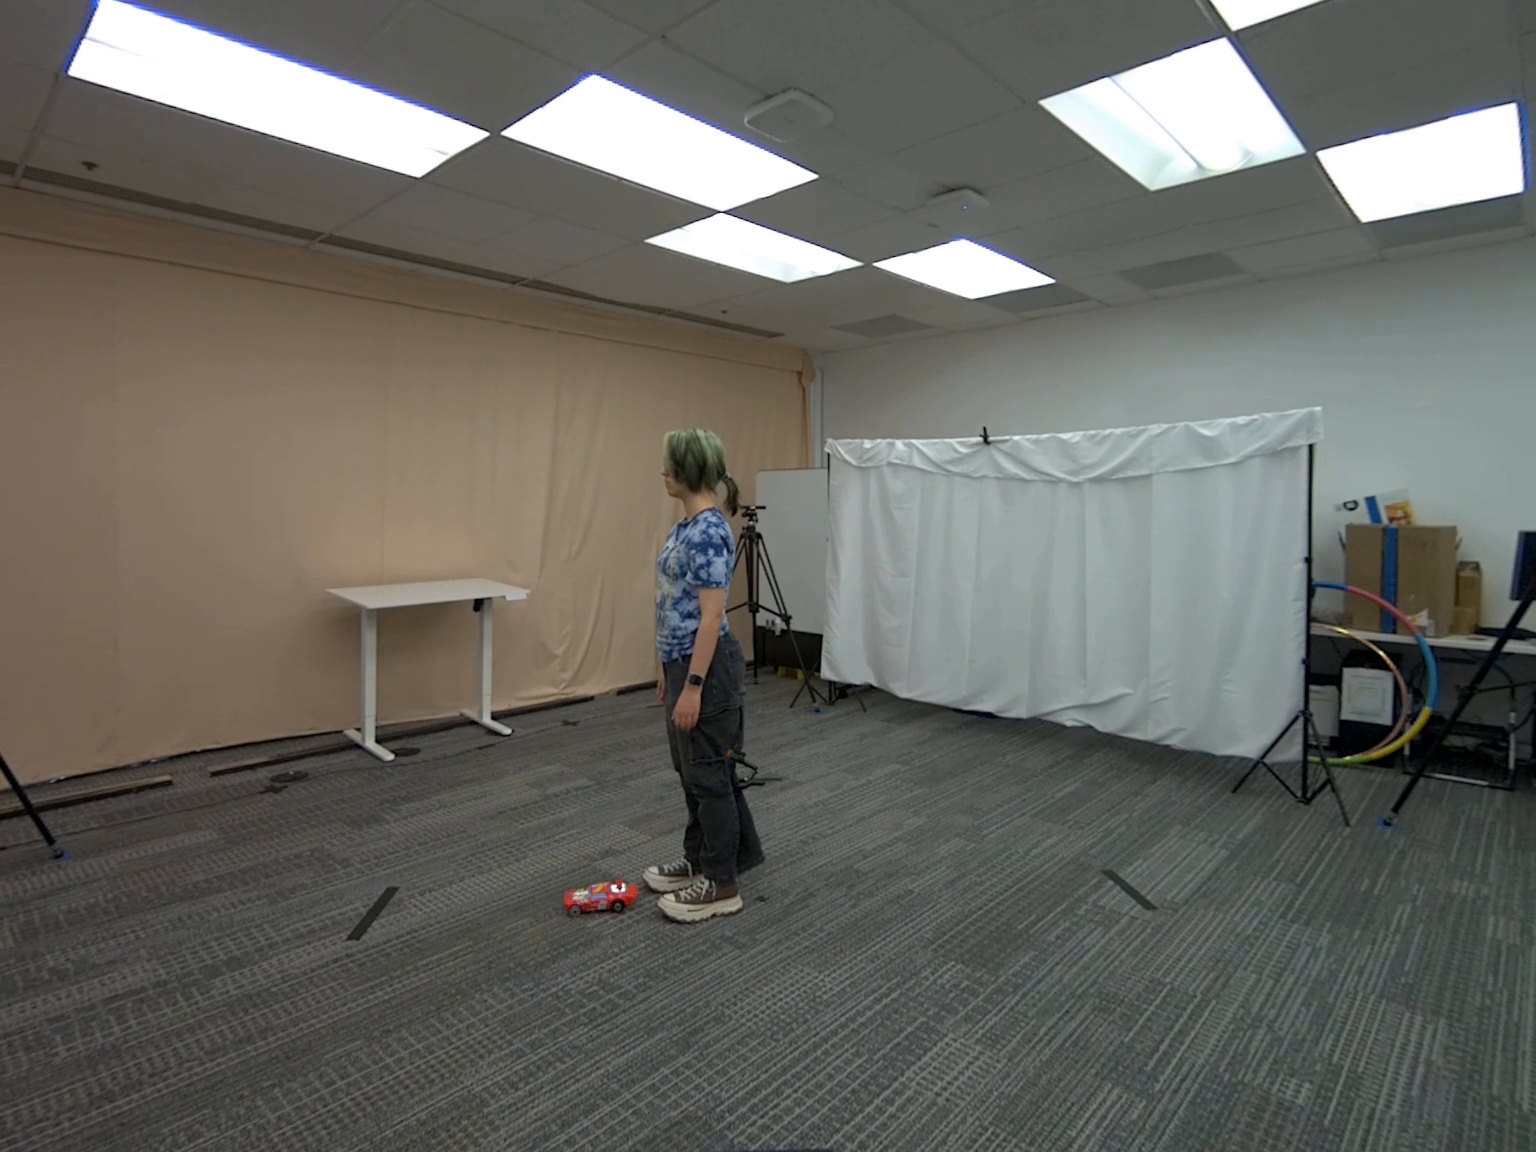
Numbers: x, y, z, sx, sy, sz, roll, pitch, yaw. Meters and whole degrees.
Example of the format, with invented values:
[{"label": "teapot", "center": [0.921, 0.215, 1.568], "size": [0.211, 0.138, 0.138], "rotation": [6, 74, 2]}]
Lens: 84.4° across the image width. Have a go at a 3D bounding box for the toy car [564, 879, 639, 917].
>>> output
[{"label": "toy car", "center": [-0.581, 1.123, 2.928], "size": [0.252, 0.083, 0.132], "rotation": [-11, 5, -10]}]
